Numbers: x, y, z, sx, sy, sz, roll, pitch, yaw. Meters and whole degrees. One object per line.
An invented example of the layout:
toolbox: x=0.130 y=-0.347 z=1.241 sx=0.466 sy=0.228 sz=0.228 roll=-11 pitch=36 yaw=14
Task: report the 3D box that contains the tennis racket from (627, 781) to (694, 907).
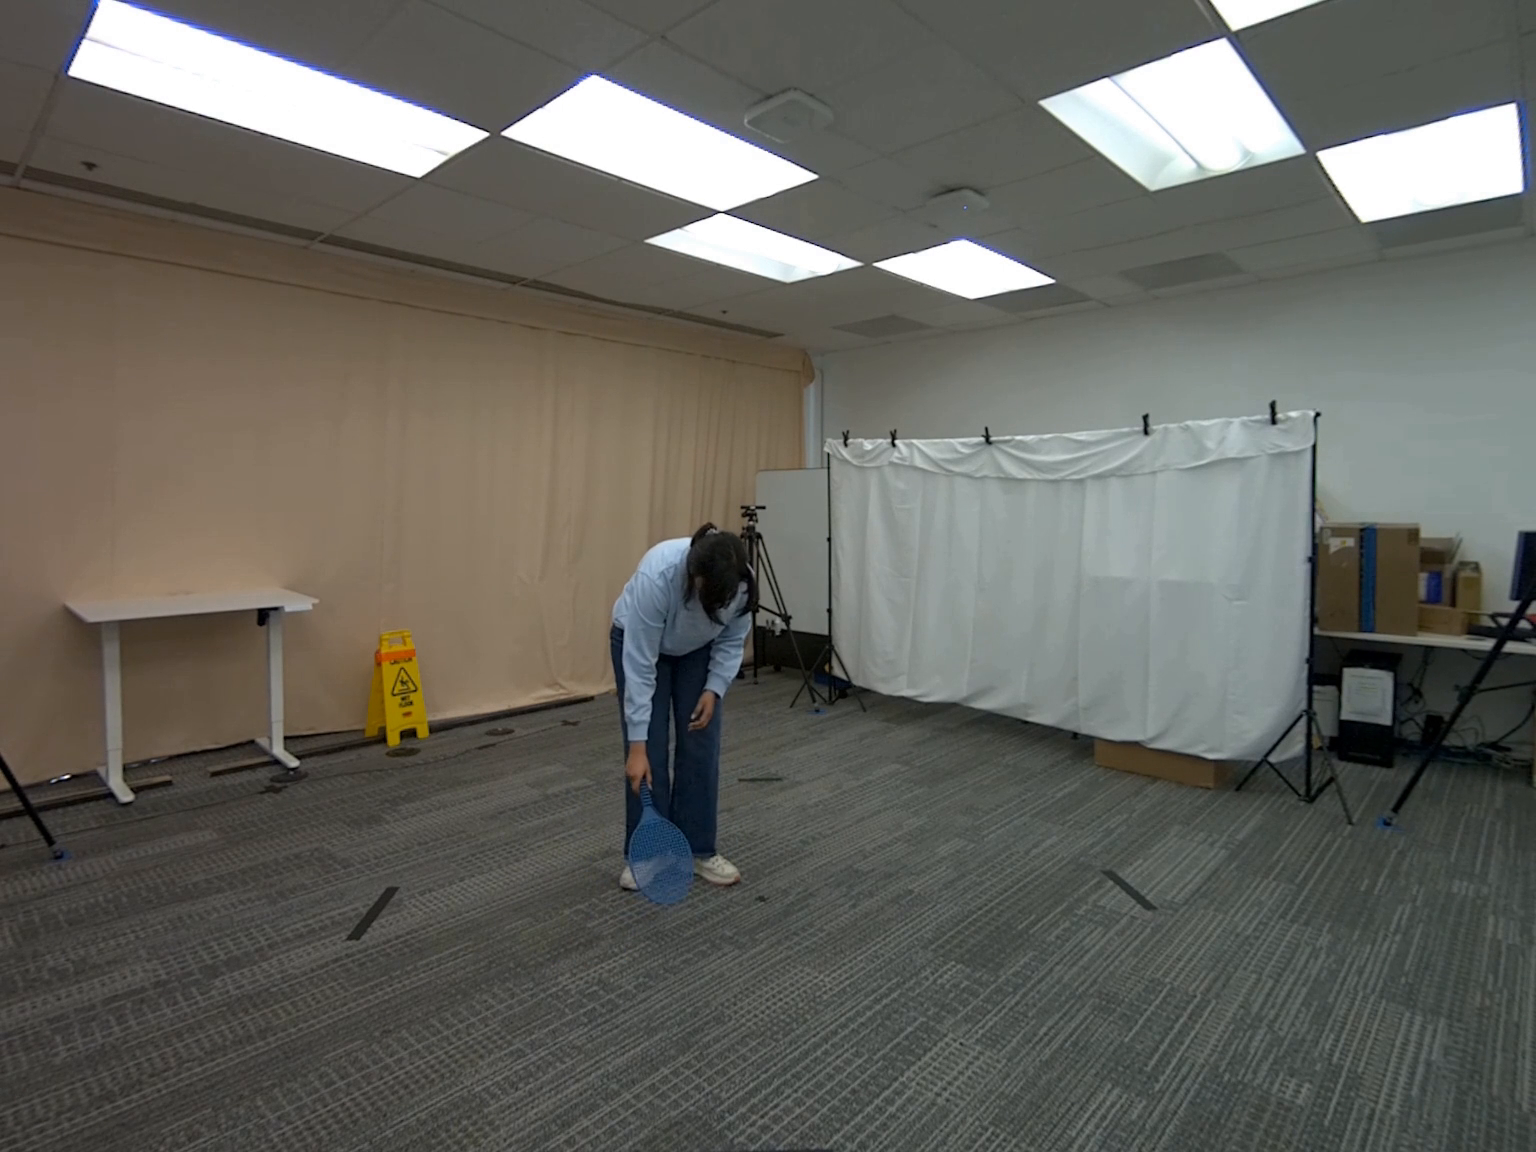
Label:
tennis racket: x=-0.358 y=0.842 z=2.753 sx=0.209 sy=0.443 sz=0.032 roll=-6 pitch=-32 yaw=-25
